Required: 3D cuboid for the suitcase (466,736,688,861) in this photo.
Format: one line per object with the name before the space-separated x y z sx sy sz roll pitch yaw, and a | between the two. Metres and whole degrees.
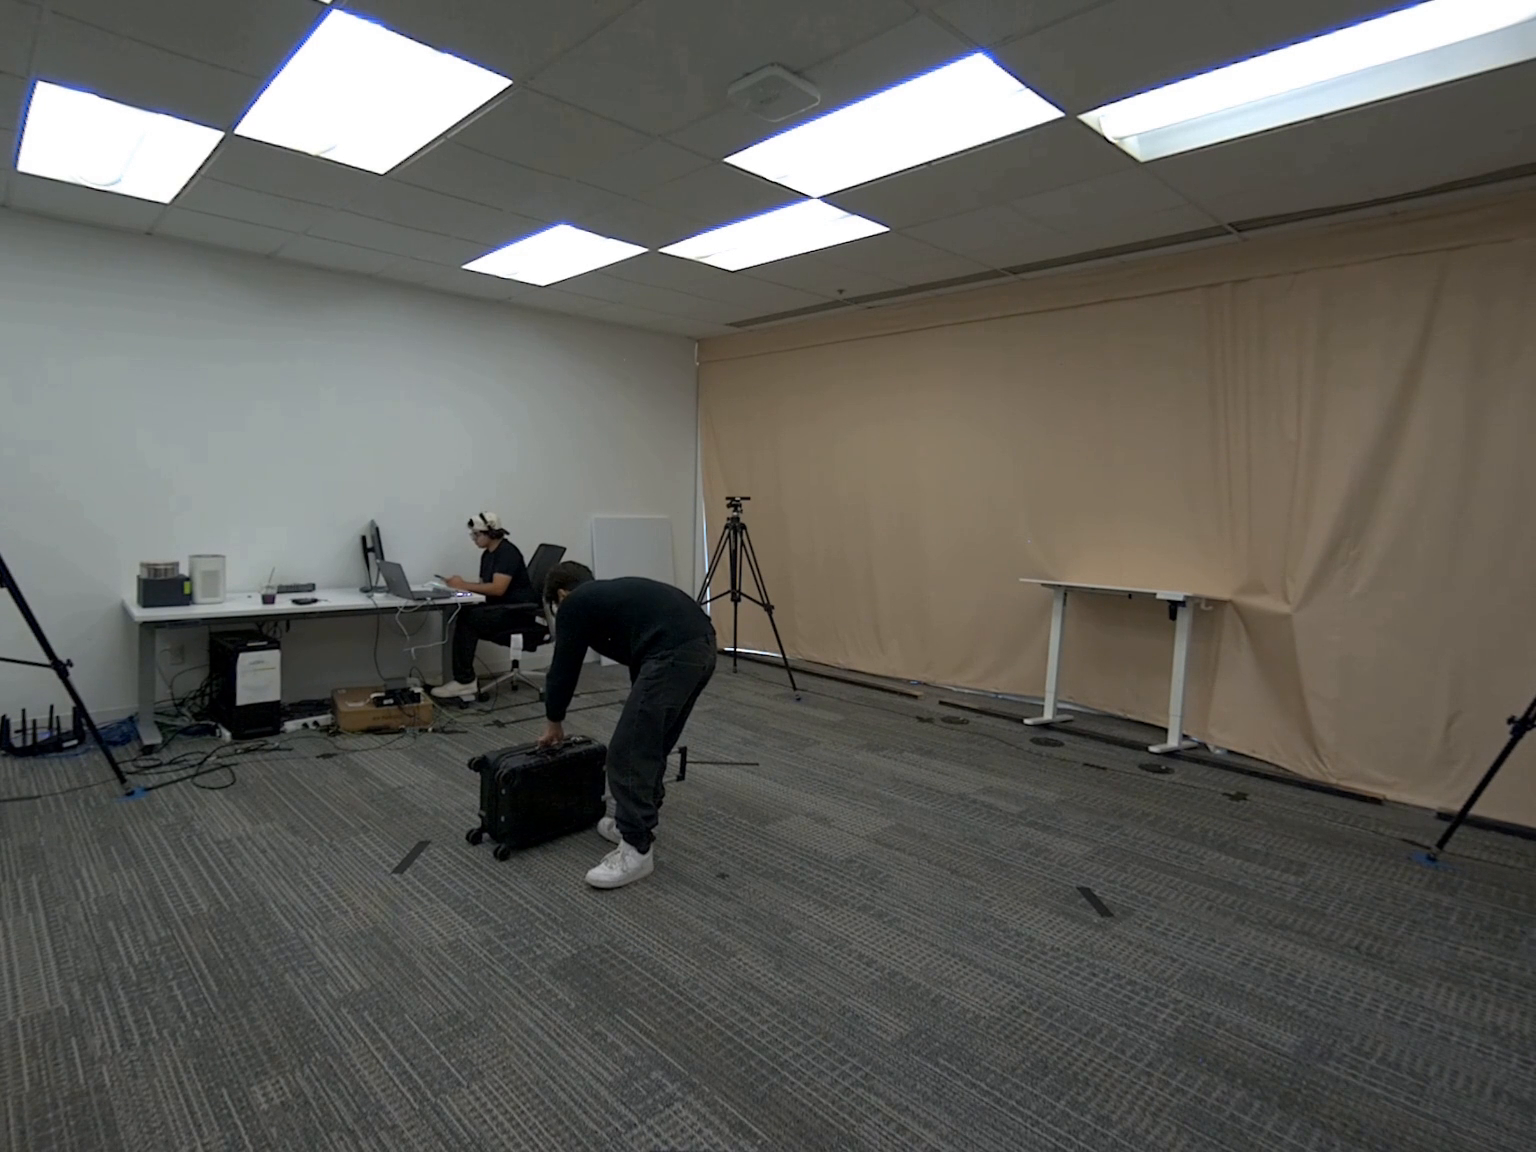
suitcase | -0.797 0.859 3.596 0.263 0.383 0.956 6 6 40
